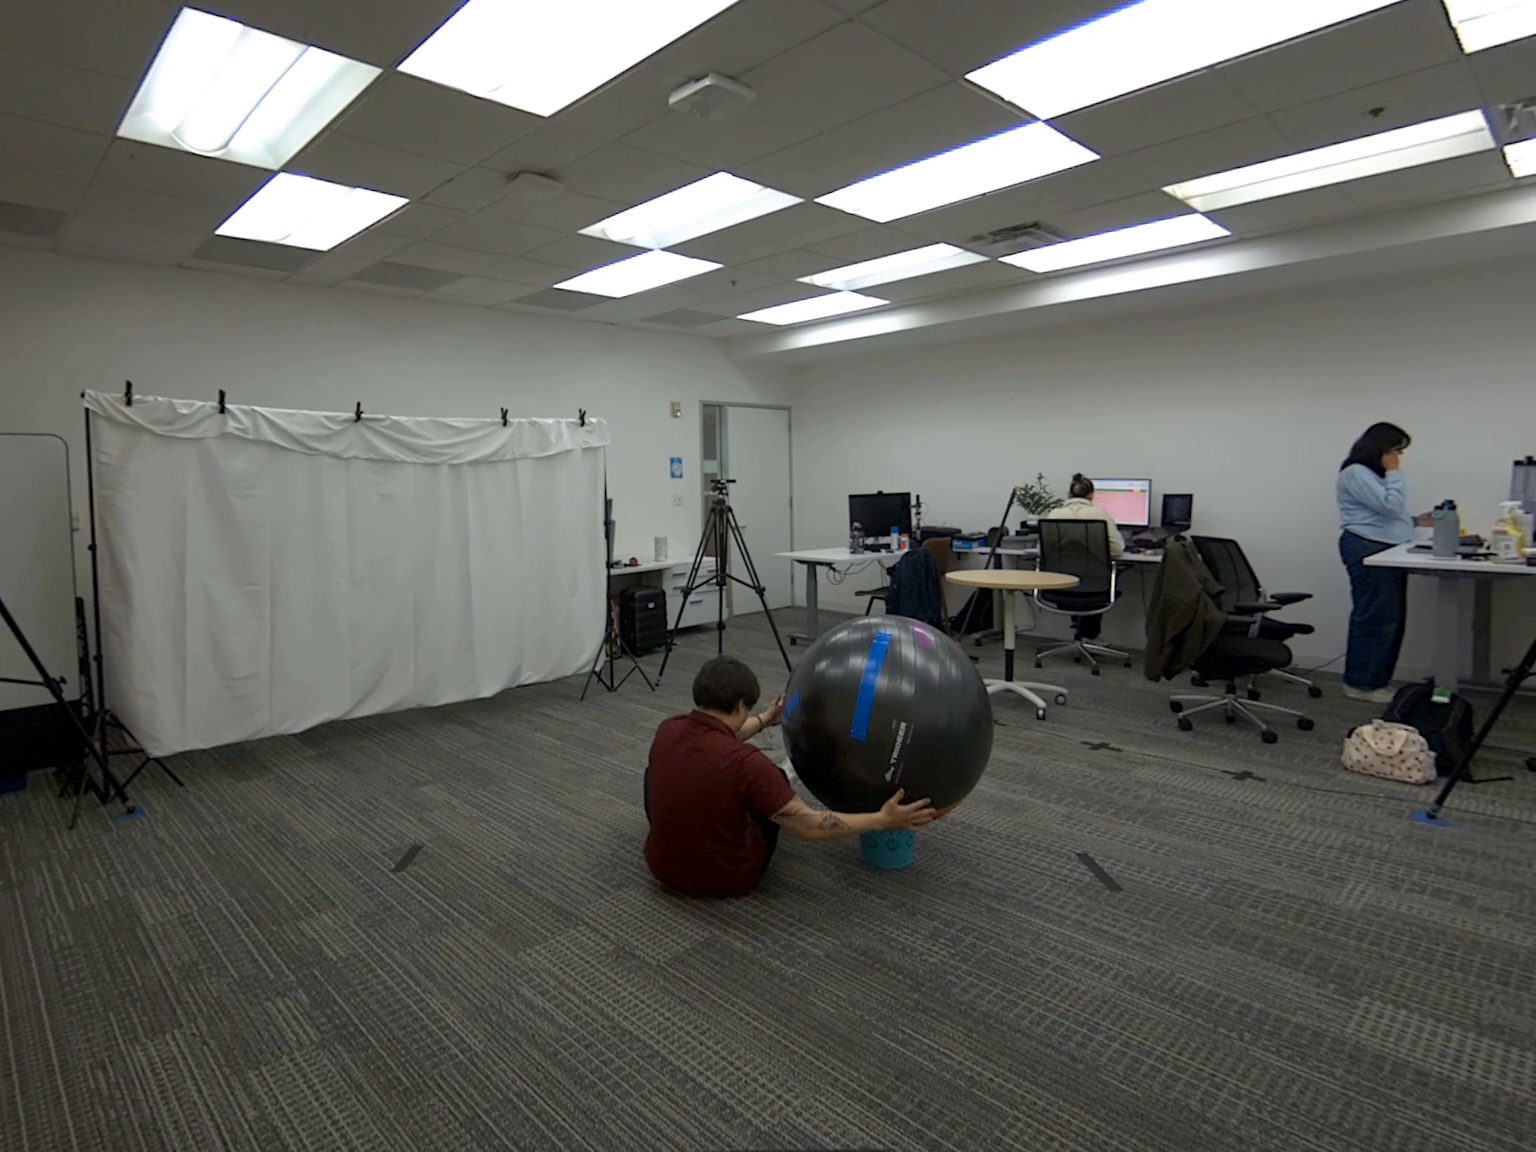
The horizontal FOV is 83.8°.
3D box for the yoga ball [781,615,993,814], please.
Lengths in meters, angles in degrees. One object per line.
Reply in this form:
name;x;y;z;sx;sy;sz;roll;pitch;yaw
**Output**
yoga ball;0.436;0.527;3.117;0.757;0.755;0.762;-1;5;-2
